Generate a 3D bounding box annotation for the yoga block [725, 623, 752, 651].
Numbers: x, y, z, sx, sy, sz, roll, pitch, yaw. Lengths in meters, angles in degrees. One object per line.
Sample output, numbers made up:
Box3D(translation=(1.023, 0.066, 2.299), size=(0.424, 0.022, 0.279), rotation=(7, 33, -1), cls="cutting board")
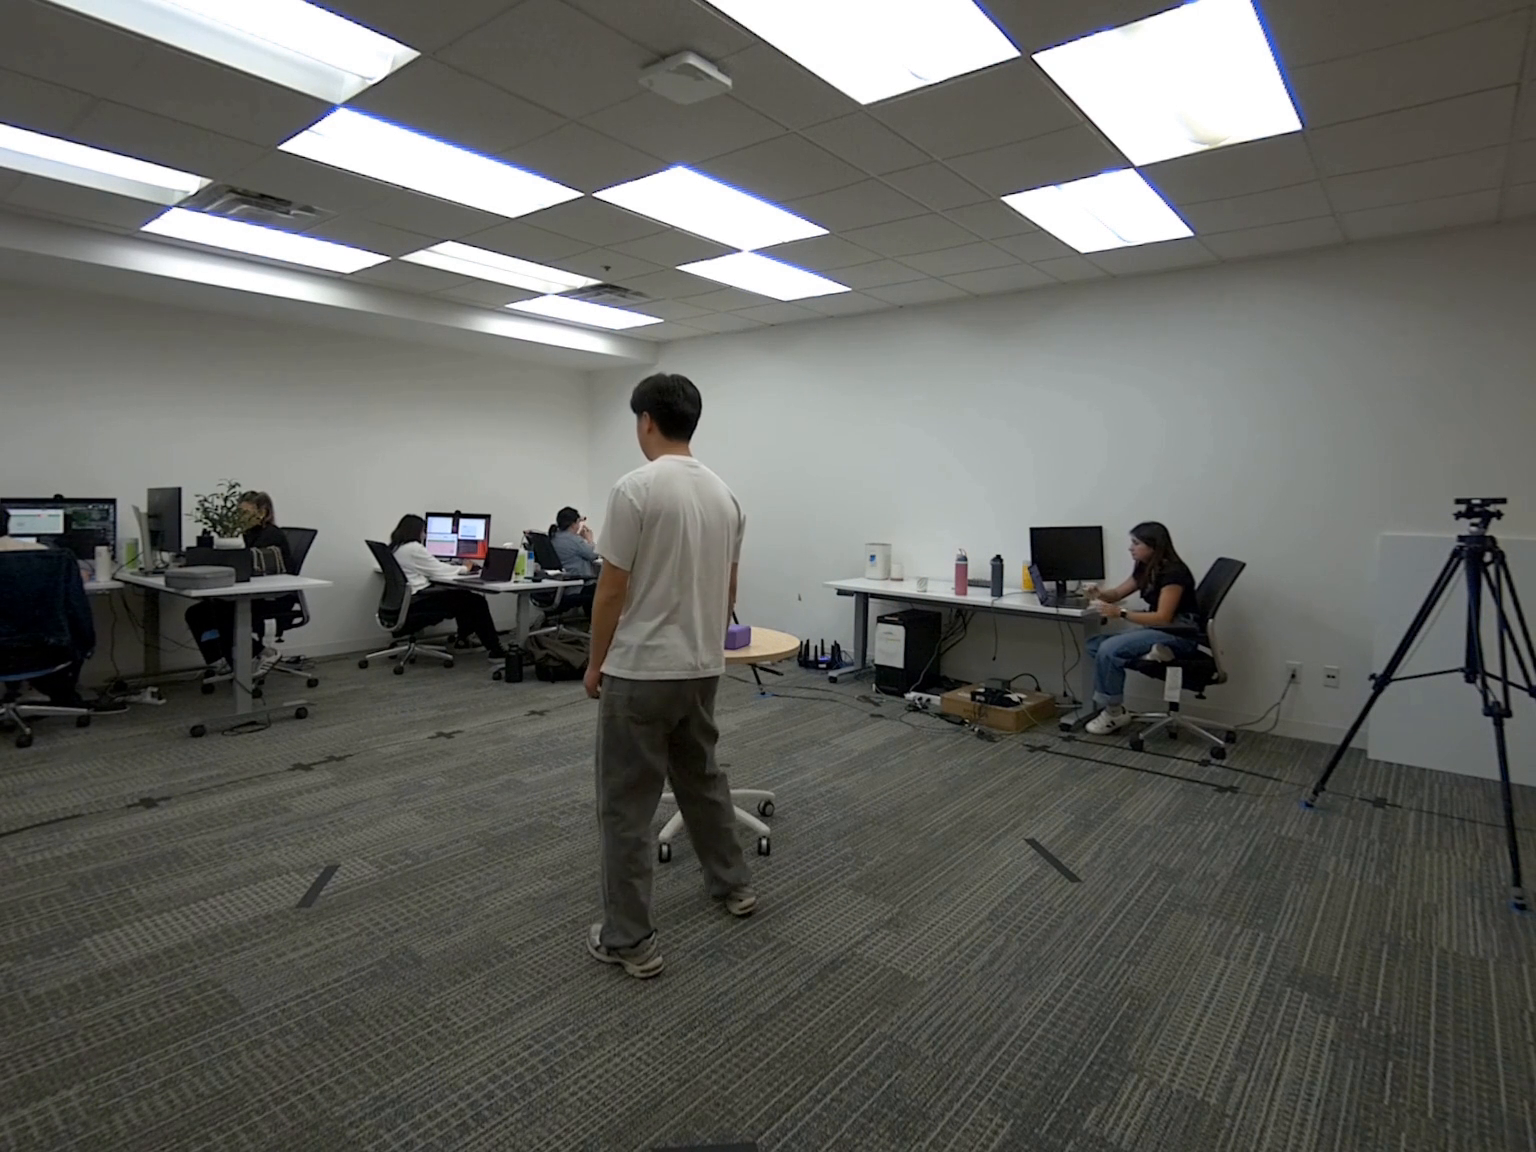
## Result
Box3D(translation=(-0.196, 0.222, 3.337), size=(0.236, 0.076, 0.145), rotation=(4, 6, 27), cls="yoga block")
